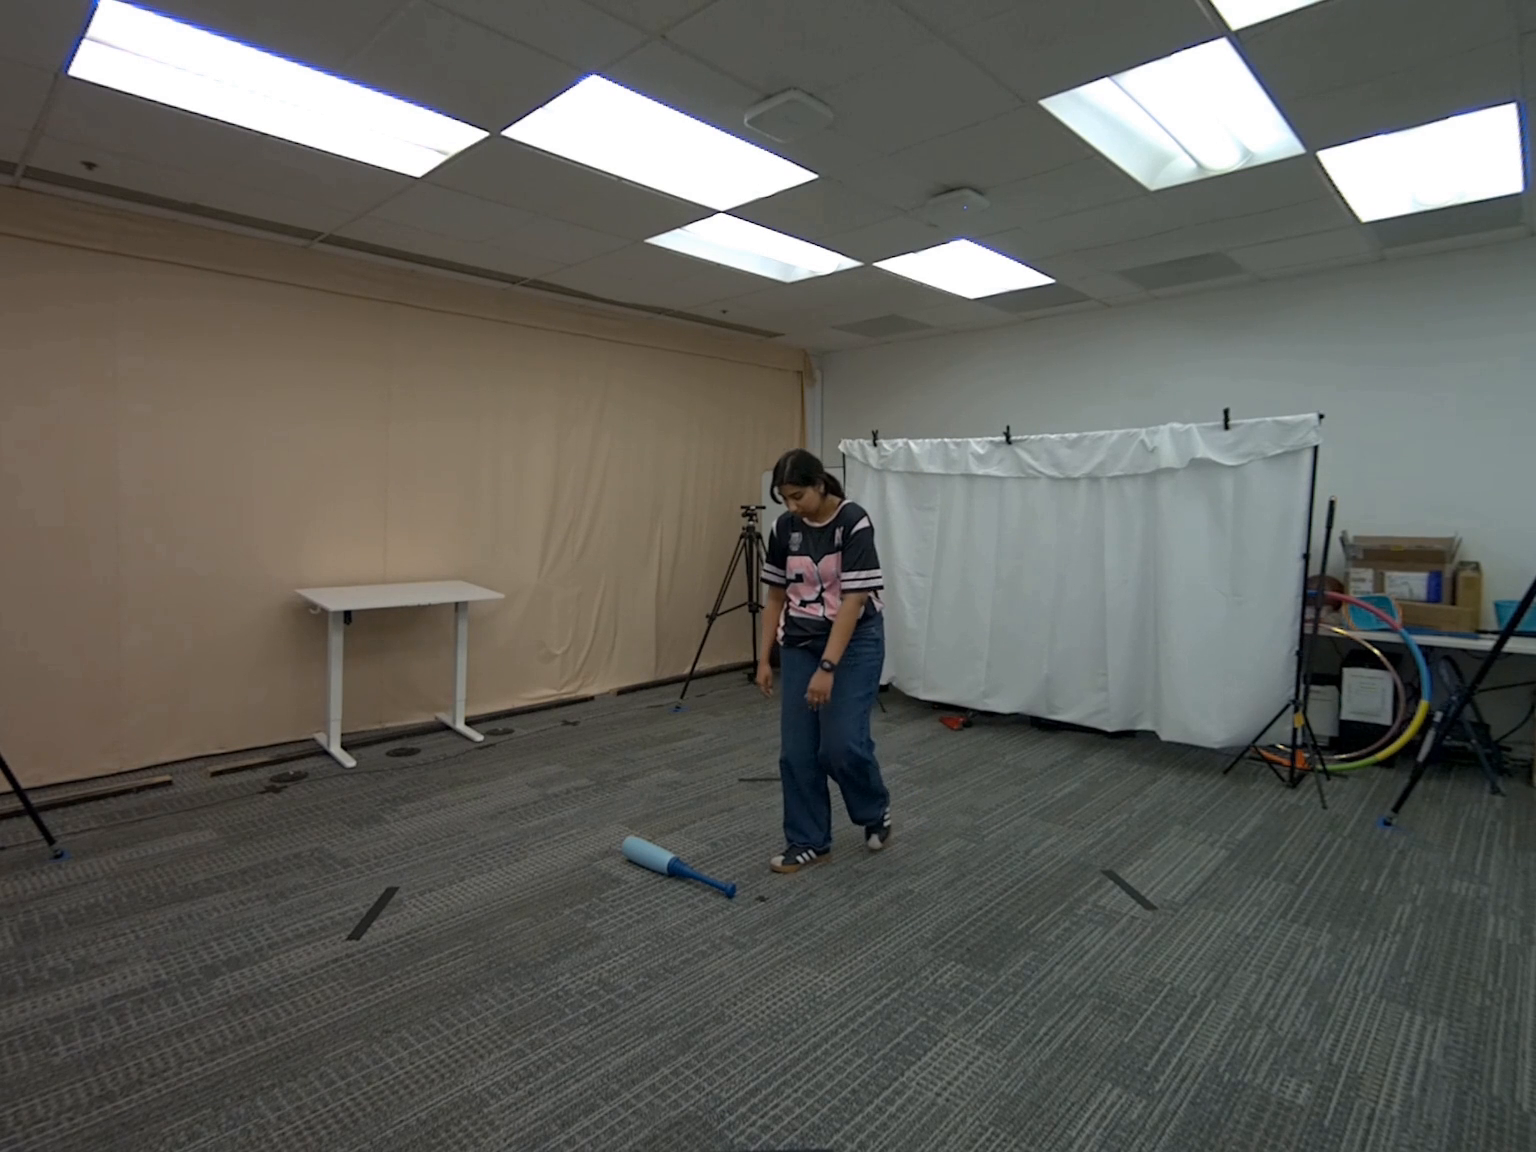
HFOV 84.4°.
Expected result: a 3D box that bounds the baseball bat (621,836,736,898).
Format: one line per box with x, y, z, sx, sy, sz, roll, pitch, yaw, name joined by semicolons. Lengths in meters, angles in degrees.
-0.339;1.095;3.158;0.561;0.089;0.086;6;7;39;baseball bat
